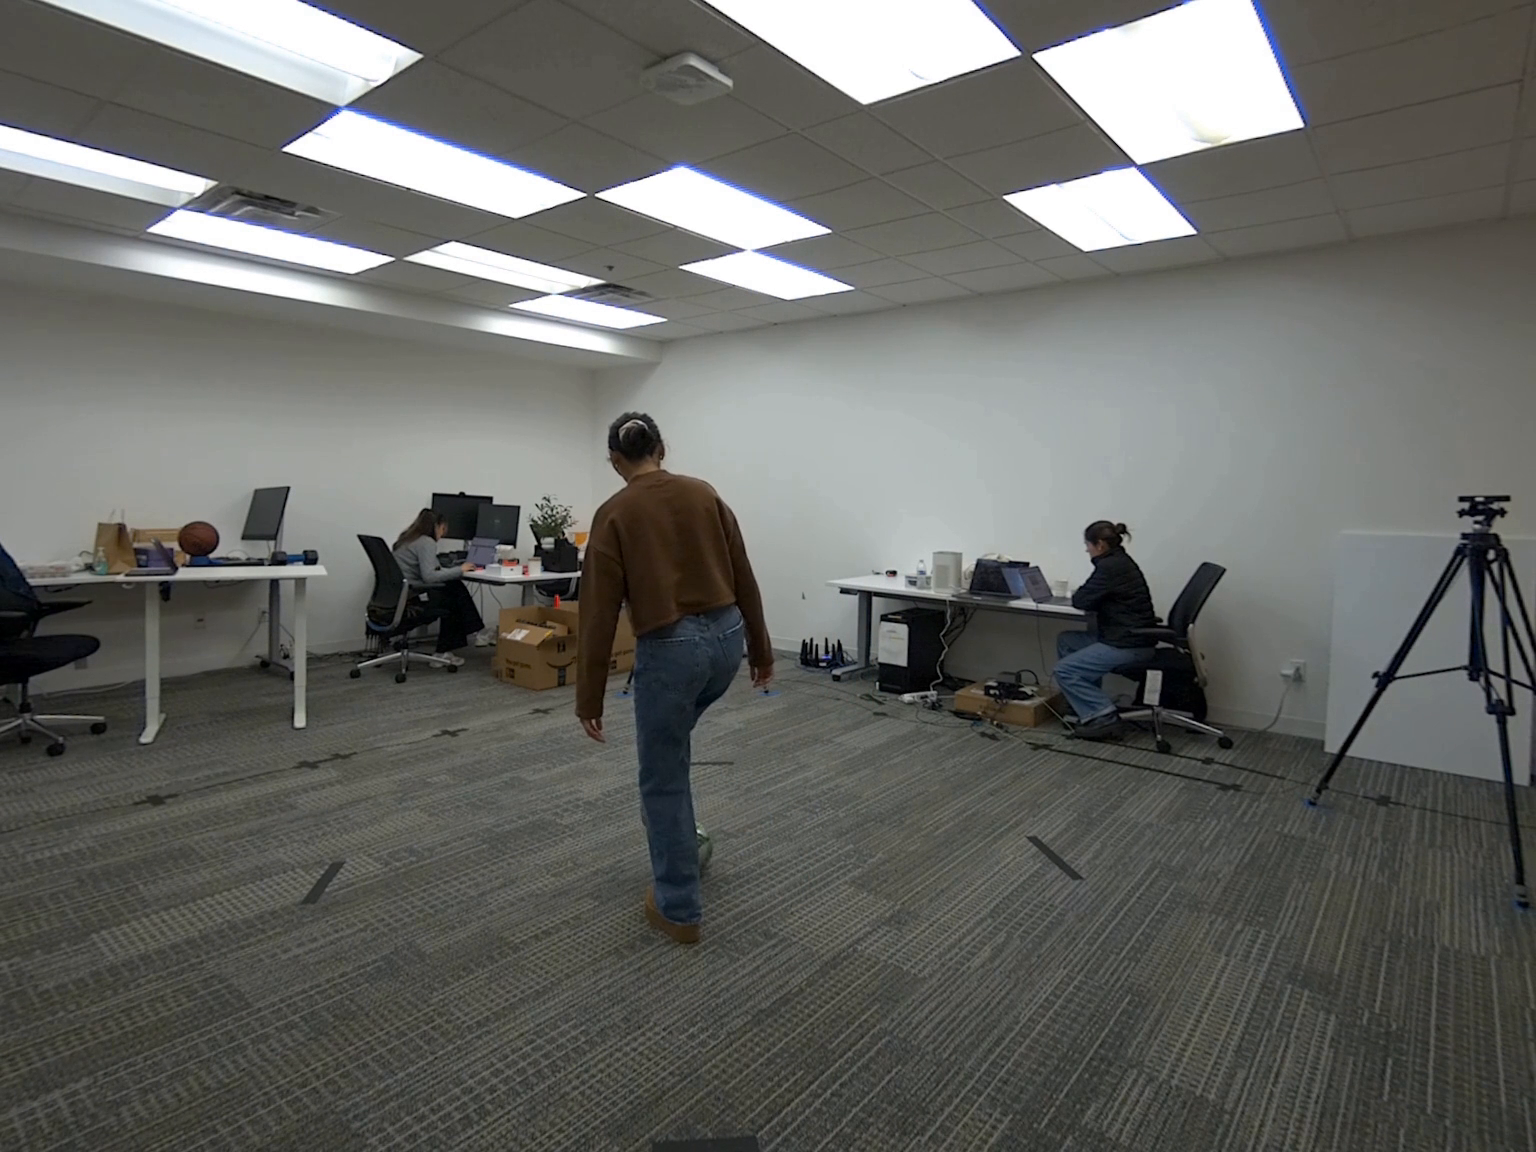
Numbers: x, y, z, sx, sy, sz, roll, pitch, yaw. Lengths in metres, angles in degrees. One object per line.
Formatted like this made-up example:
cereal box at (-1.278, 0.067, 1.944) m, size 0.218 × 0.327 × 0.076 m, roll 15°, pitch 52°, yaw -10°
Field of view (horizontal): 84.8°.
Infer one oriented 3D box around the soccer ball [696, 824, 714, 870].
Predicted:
soccer ball at (-0.289, 0.969, 3.068) m, size 0.187 × 0.187 × 0.188 m, roll 1°, pitch 4°, yaw -2°
